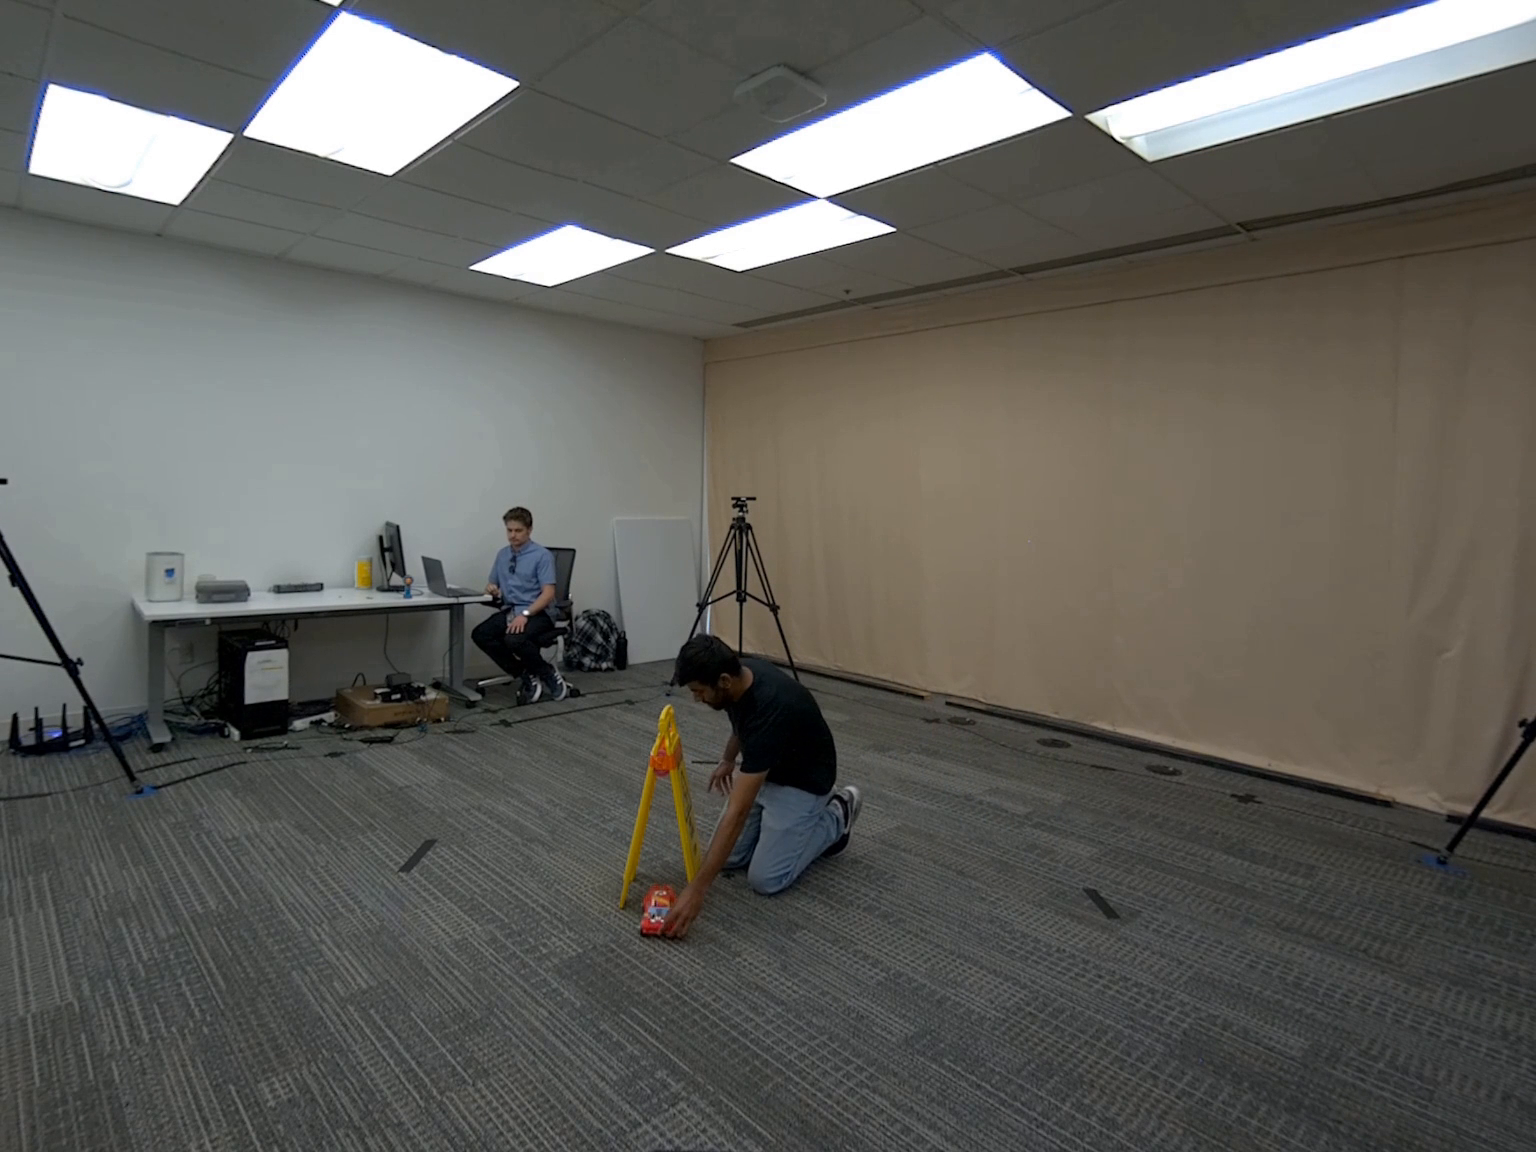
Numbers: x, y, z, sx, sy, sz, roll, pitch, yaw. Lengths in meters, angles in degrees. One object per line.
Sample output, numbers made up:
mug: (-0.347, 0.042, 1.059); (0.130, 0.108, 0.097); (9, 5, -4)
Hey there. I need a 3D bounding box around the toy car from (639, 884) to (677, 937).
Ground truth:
toy car: (-0.359, 1.103, 2.749); (0.130, 0.082, 0.258); (1, 16, -4)
